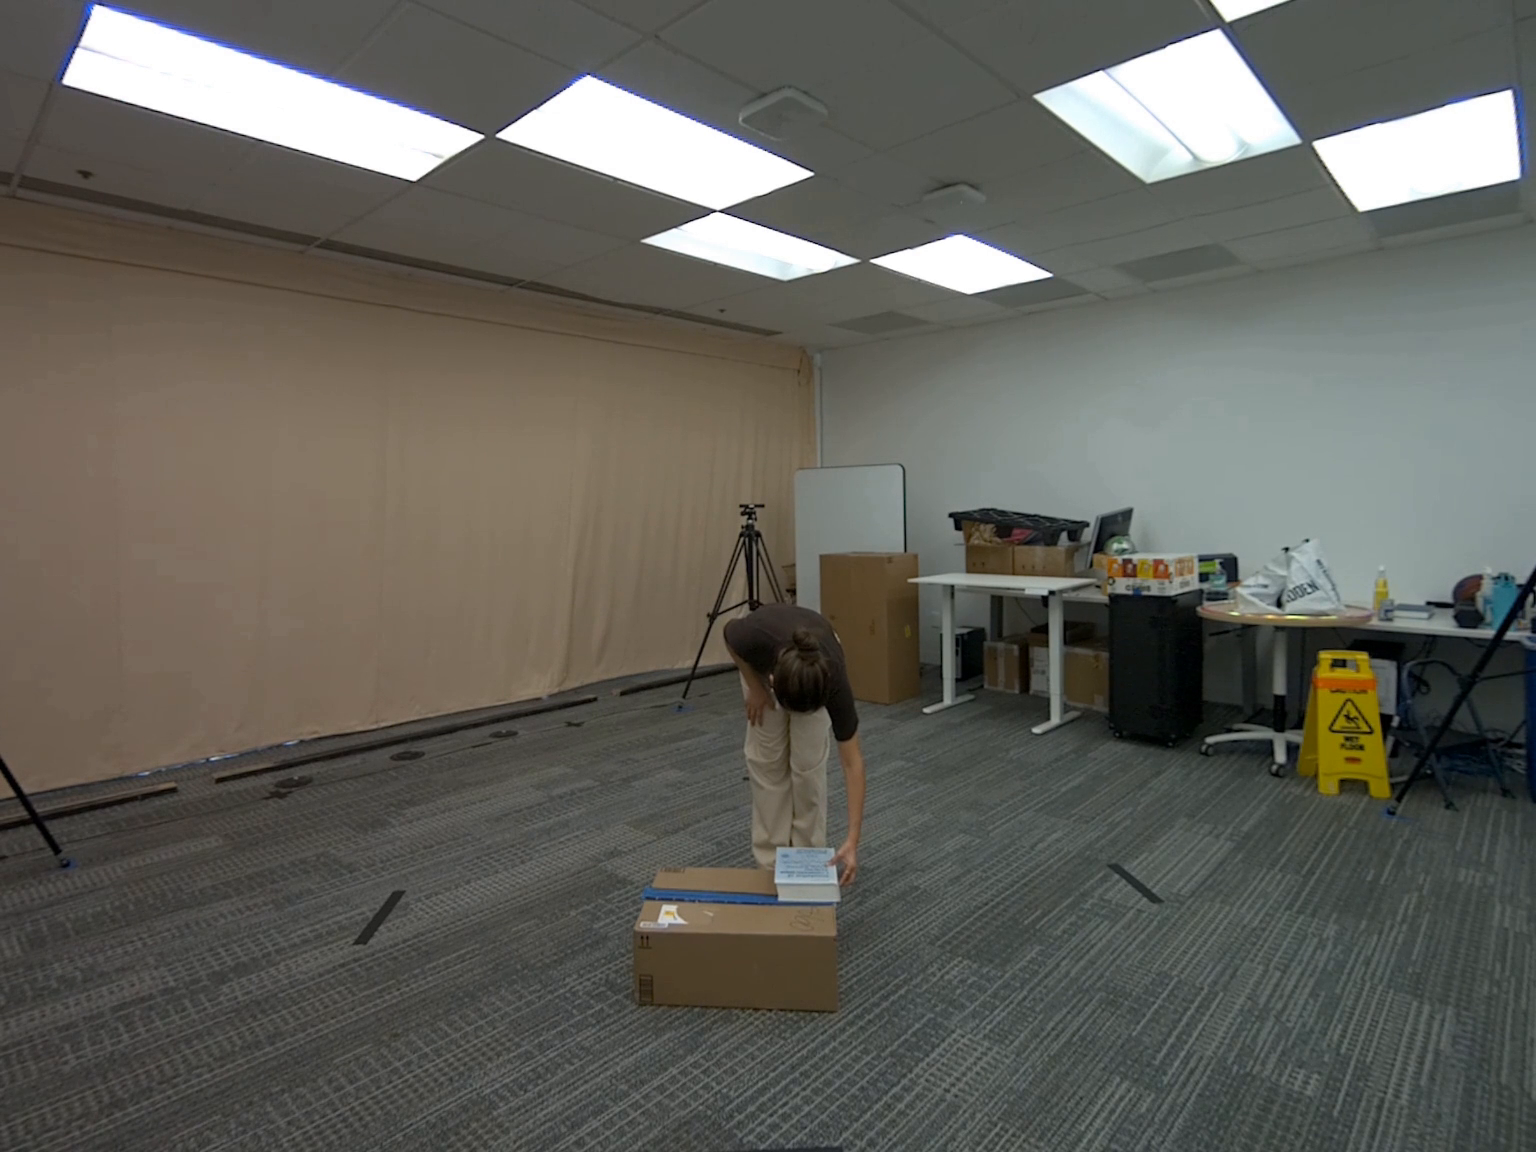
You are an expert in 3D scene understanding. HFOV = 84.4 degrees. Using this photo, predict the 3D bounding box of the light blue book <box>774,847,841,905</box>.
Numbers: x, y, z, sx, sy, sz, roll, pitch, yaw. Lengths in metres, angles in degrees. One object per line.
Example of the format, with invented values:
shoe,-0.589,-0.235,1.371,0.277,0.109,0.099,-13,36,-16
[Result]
light blue book,0.115,0.922,2.628,0.192,0.059,0.260,-2,4,3
